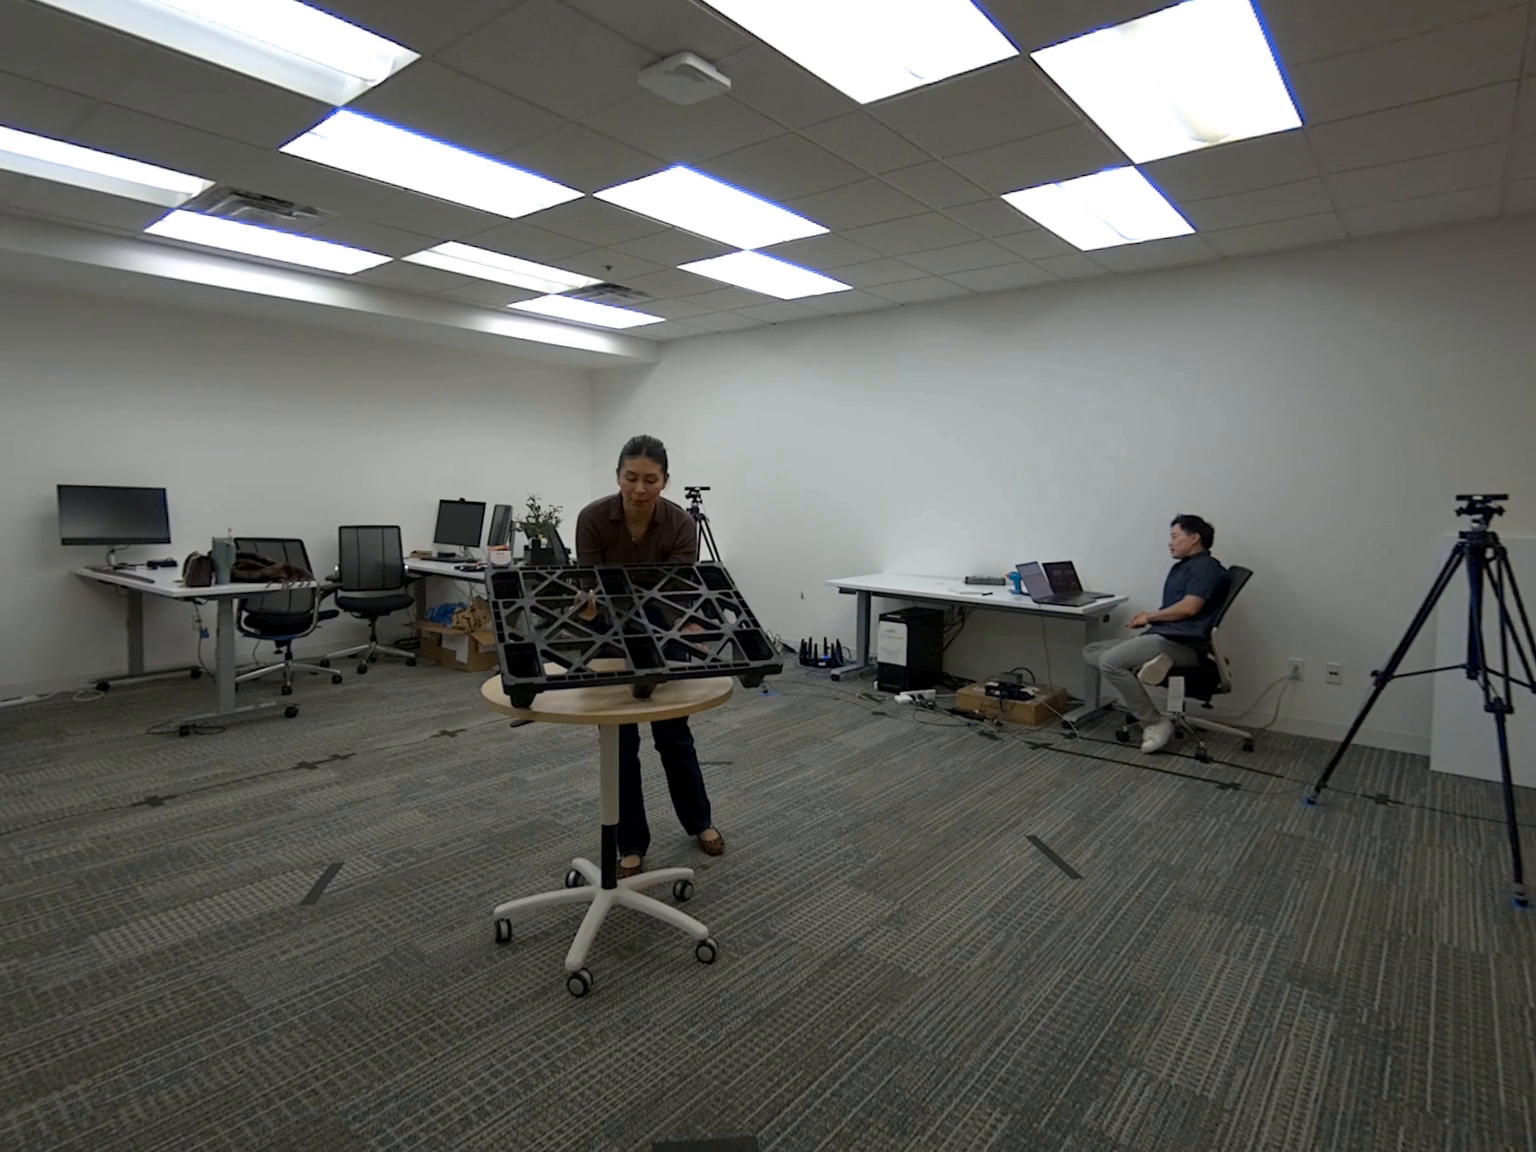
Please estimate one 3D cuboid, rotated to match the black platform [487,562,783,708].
[{"bbox_3d":[-0.431,0.167,2.603,0.789,0.140,0.629,-3,31,-22],"label":"black platform"}]
